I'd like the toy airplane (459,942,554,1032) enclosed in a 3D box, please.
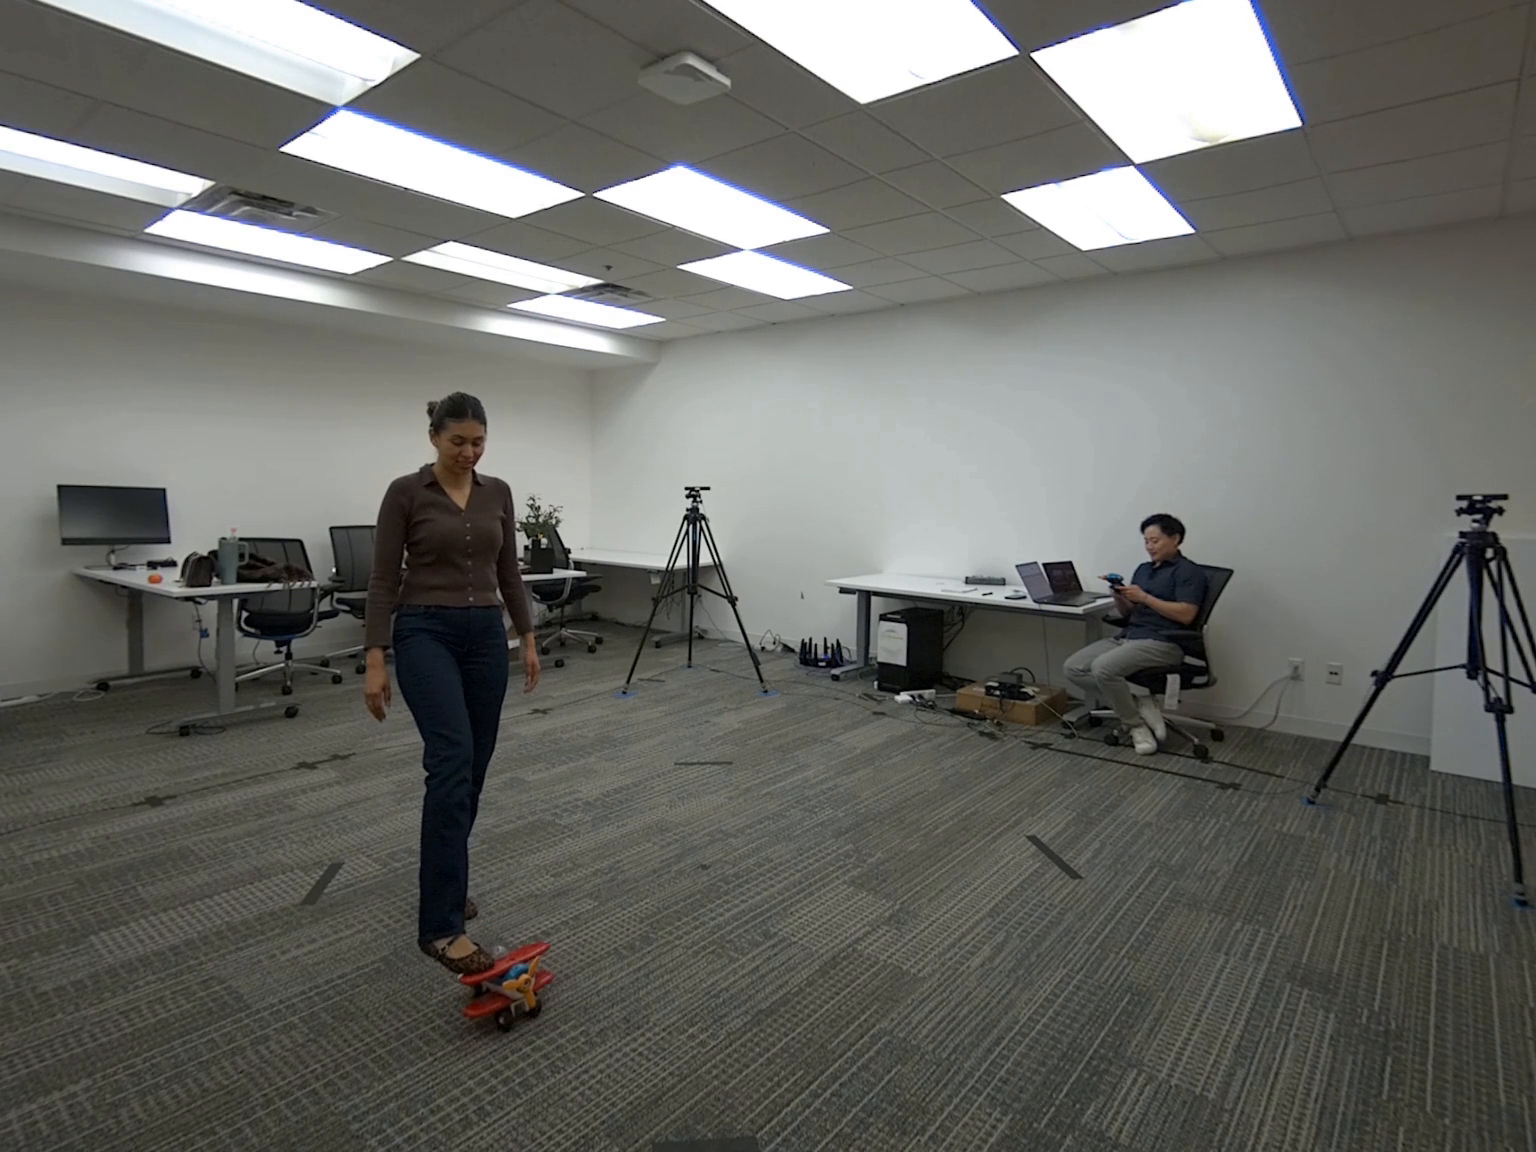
[{"bbox_3d":[-0.728,1.072,2.243,0.263,0.156,0.248,3,6,14],"label":"toy airplane"}]
